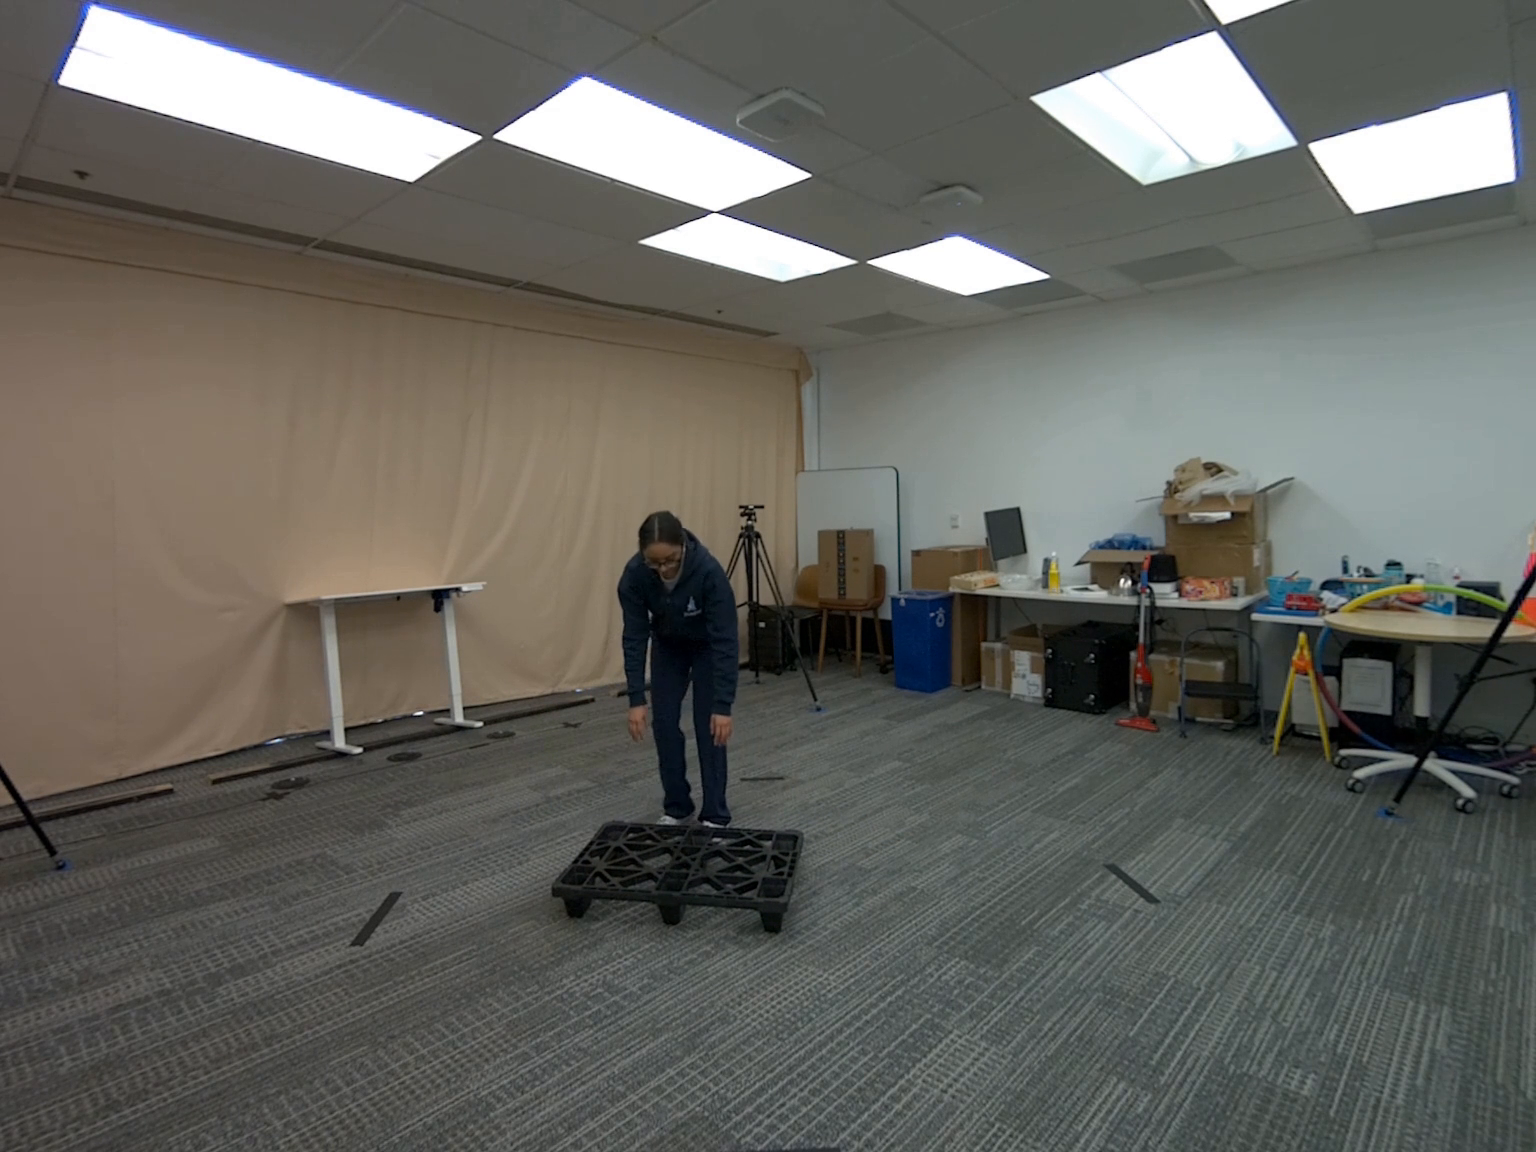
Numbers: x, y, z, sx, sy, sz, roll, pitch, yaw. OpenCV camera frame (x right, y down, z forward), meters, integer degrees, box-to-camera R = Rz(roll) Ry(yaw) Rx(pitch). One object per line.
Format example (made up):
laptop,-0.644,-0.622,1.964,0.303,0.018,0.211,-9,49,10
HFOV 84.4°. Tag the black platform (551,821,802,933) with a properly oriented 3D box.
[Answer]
black platform,-0.293,1.074,3.035,0.815,0.143,0.600,0,4,10
